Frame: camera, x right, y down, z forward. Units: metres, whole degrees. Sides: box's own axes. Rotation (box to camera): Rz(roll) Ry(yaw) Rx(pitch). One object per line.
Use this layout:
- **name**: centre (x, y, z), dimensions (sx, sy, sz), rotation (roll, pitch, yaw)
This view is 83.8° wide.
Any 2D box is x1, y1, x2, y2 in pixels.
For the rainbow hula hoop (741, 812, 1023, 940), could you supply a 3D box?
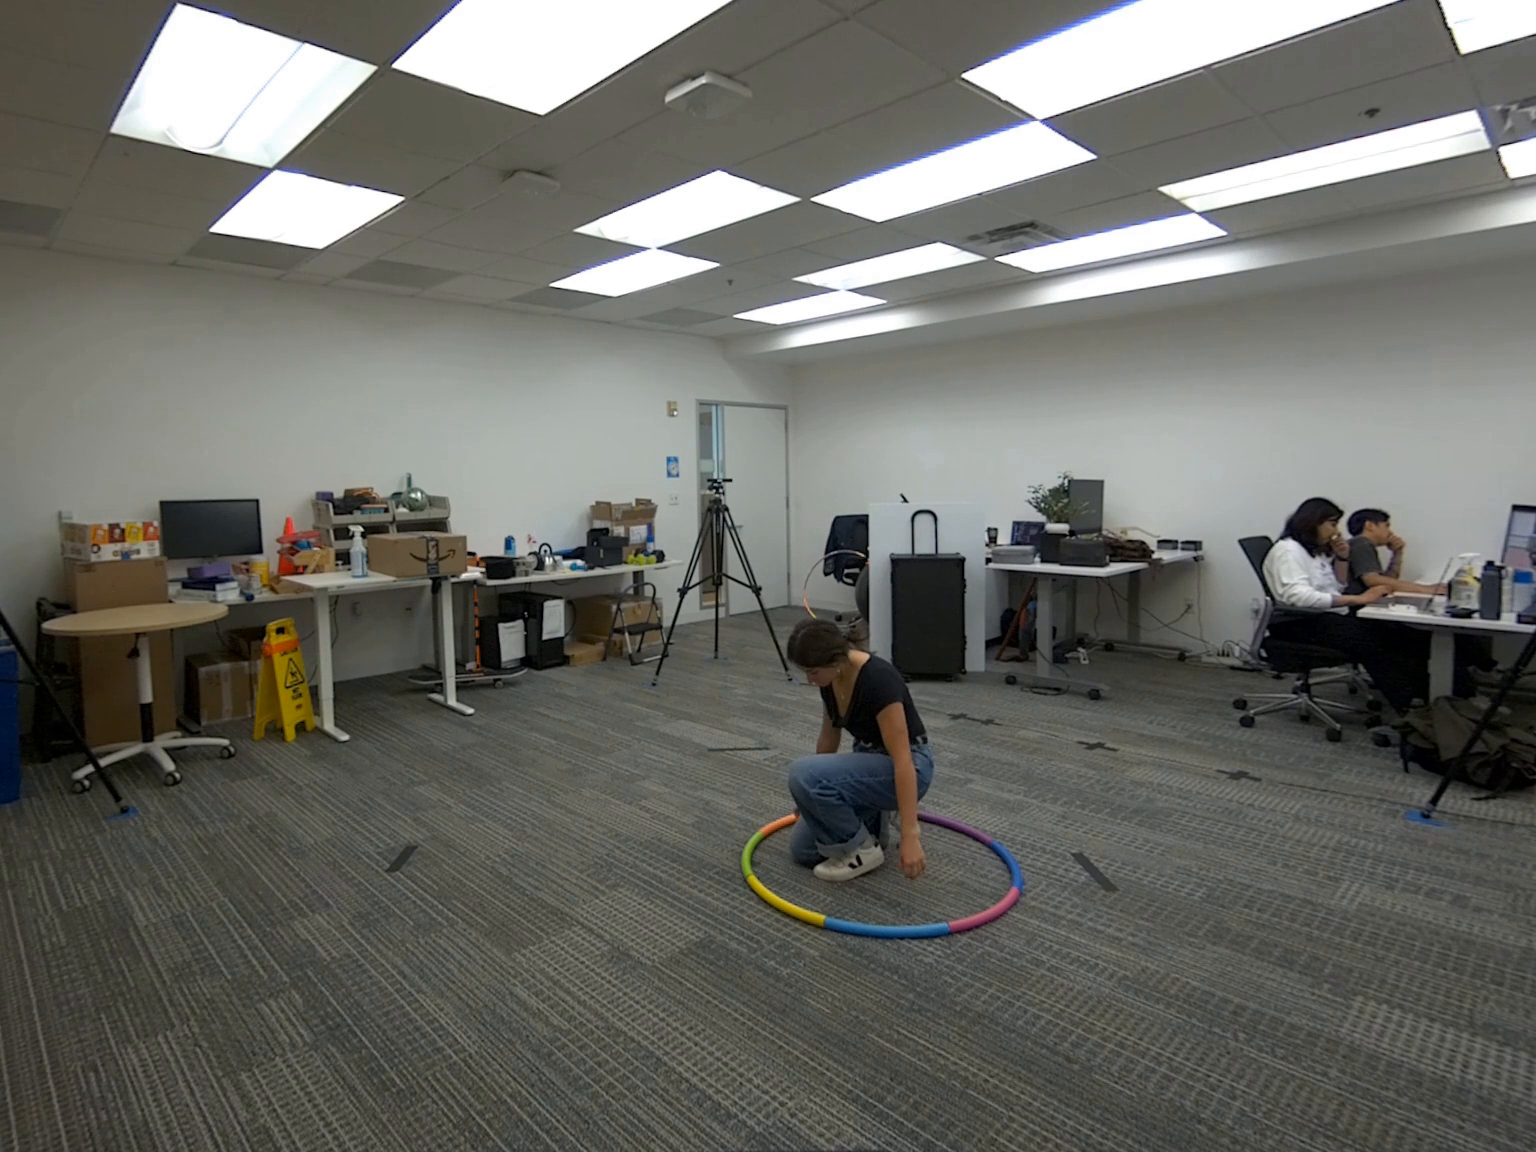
- **rainbow hula hoop**: centre (0.392, 1.010, 3.074), dimensions (0.978, 0.035, 0.984), rotation (-1, 7, -2)
